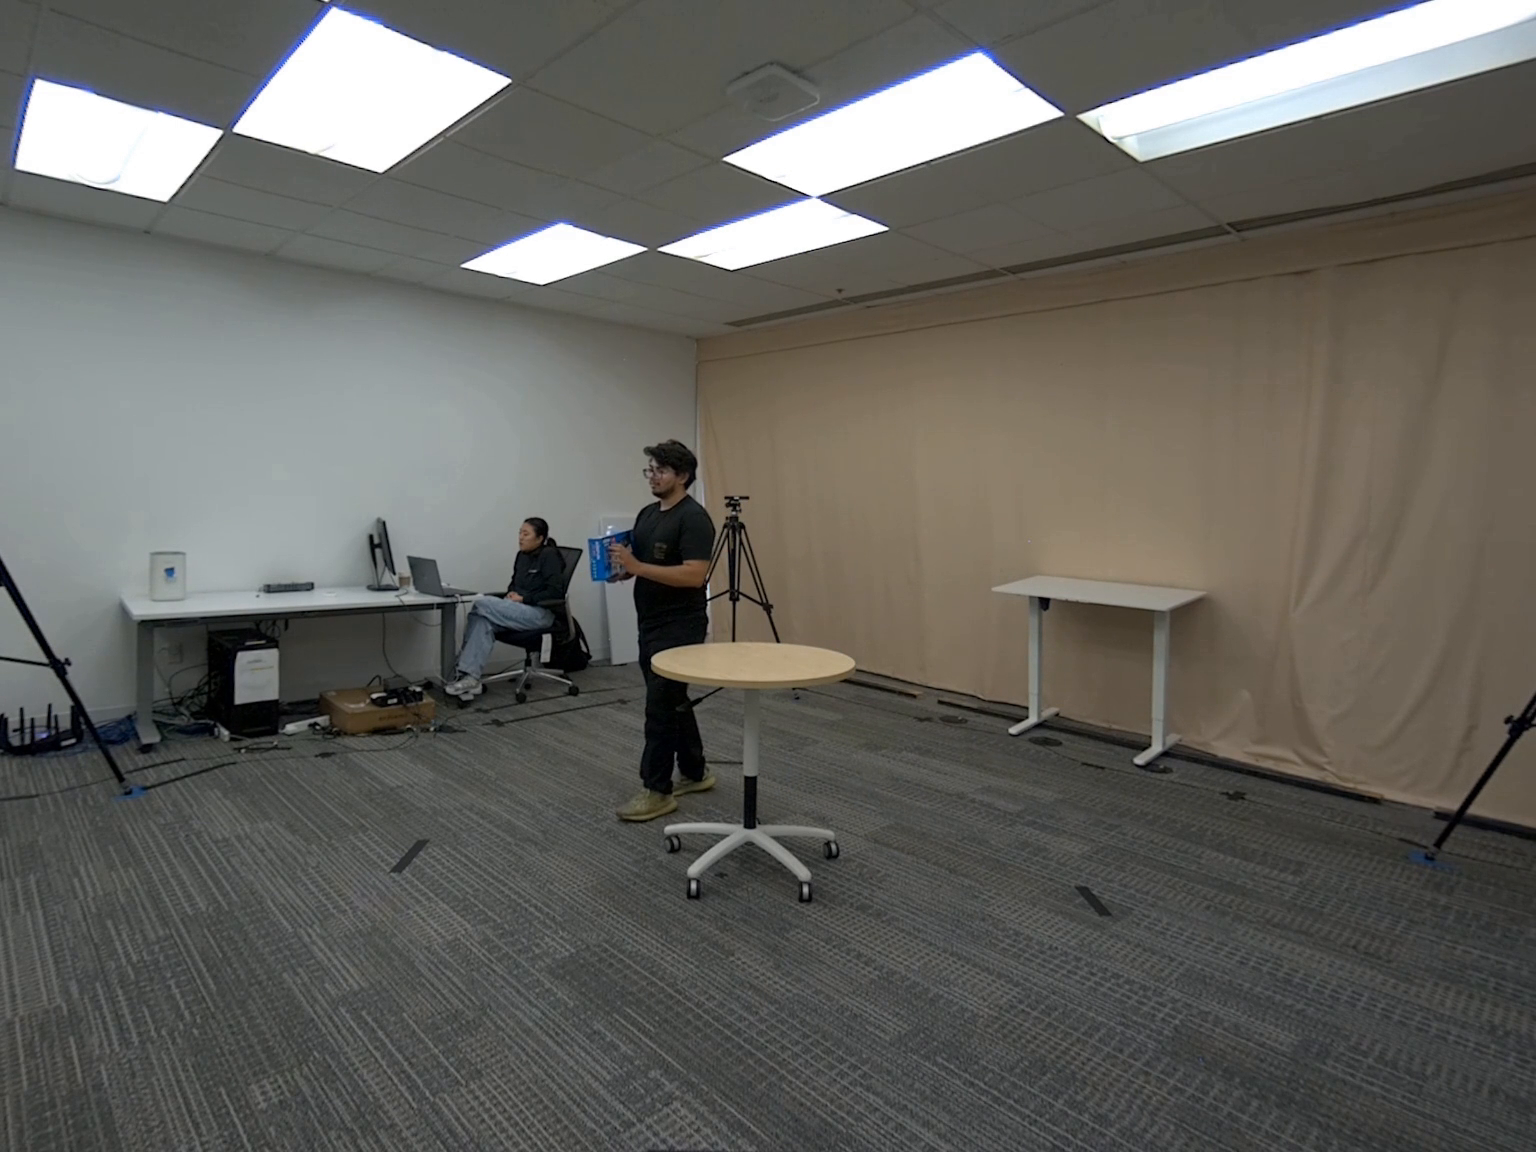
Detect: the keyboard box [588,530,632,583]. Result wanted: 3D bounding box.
[{"bbox_3d":[-0.669,-0.095,3.594,0.059,0.175,0.436,-3,8,9],"label":"keyboard box"}]
